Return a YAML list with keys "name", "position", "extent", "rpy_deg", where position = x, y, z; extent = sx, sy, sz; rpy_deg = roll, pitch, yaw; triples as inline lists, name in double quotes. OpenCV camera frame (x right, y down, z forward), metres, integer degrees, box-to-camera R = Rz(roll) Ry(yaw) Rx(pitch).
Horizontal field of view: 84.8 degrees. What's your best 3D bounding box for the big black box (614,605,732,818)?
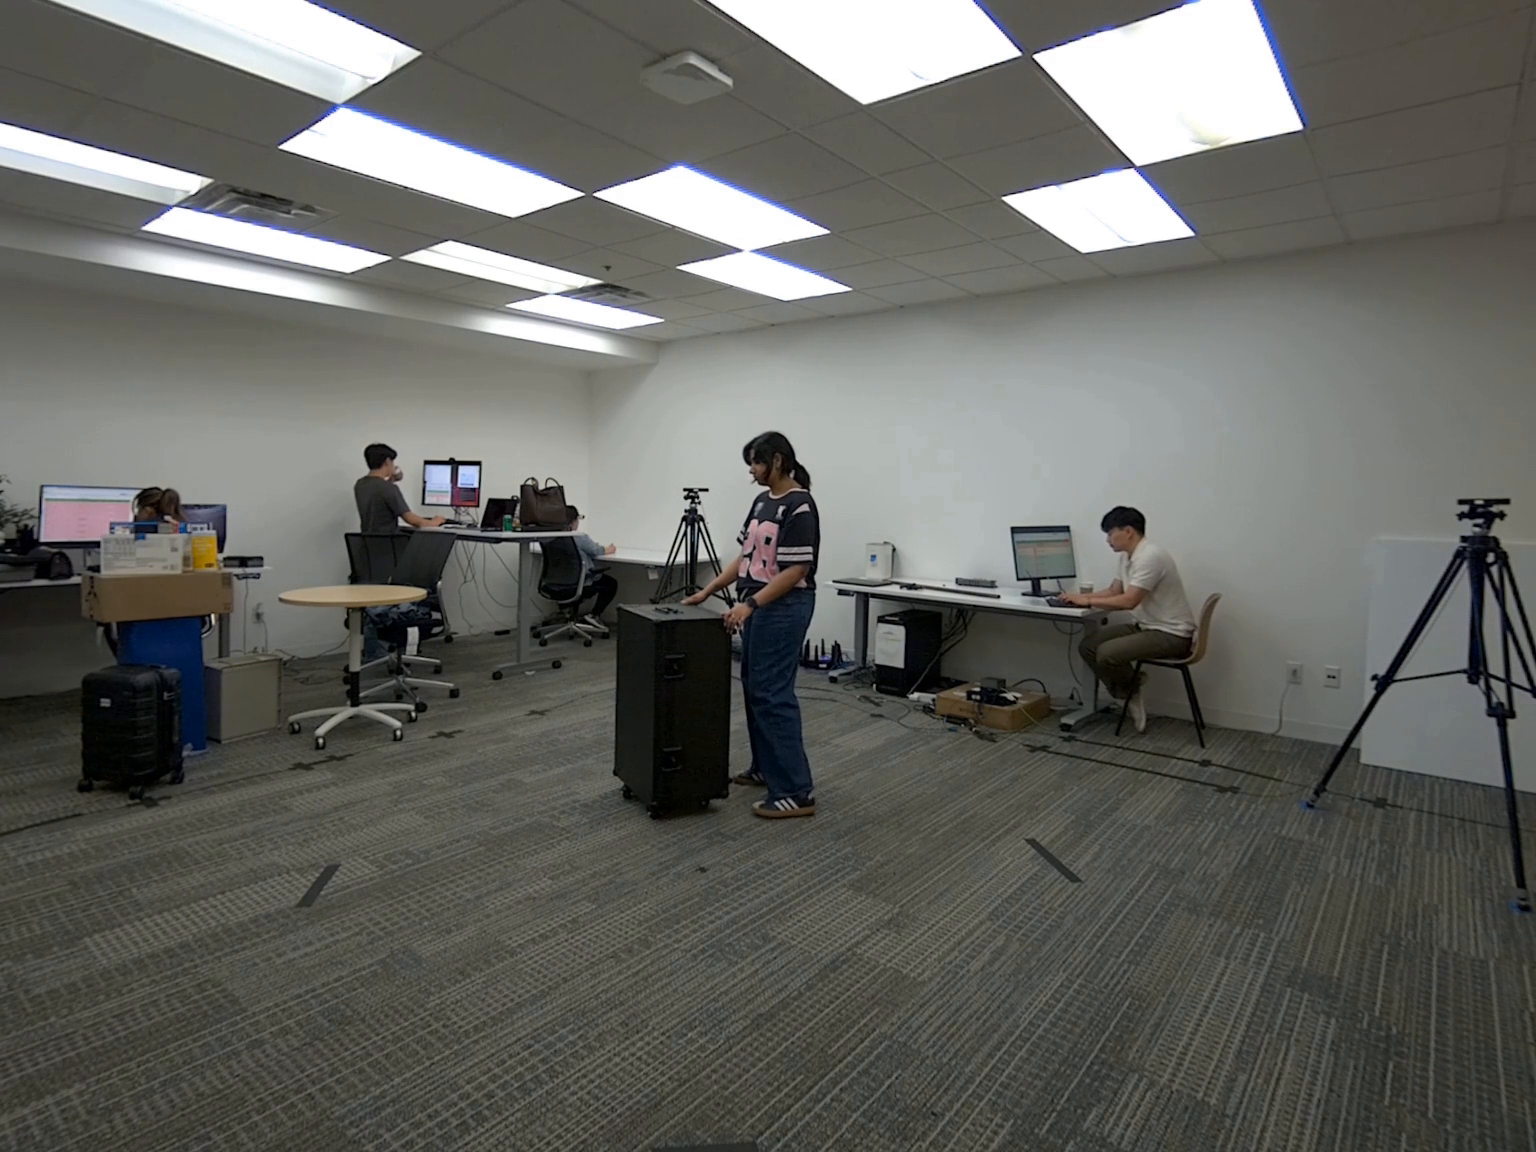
- name: "big black box"
  position: [-0.447, 0.578, 3.771]
  extent: [0.375, 0.866, 0.538]
  rpy_deg: [0, 4, -28]
